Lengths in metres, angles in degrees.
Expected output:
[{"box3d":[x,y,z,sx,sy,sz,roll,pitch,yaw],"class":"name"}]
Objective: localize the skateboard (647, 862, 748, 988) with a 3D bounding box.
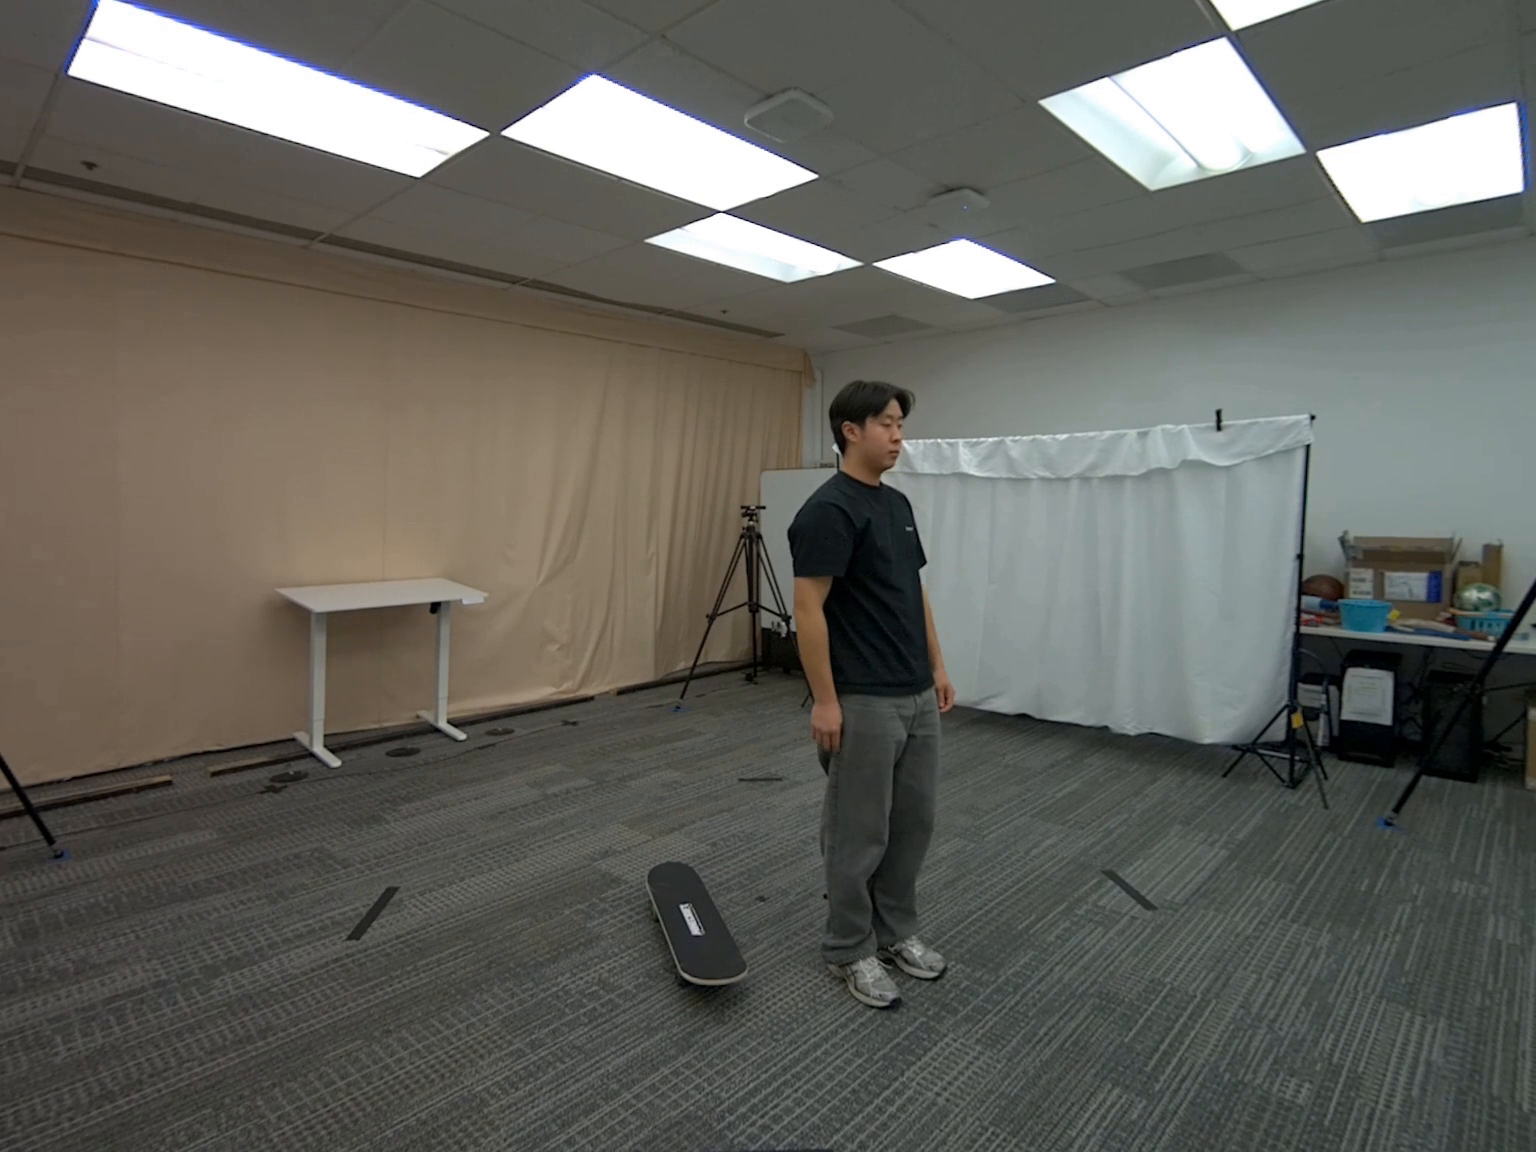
[{"box3d":[-0.239,1.110,2.663,0.190,0.110,0.800,-2,5,-17],"class":"skateboard"}]
